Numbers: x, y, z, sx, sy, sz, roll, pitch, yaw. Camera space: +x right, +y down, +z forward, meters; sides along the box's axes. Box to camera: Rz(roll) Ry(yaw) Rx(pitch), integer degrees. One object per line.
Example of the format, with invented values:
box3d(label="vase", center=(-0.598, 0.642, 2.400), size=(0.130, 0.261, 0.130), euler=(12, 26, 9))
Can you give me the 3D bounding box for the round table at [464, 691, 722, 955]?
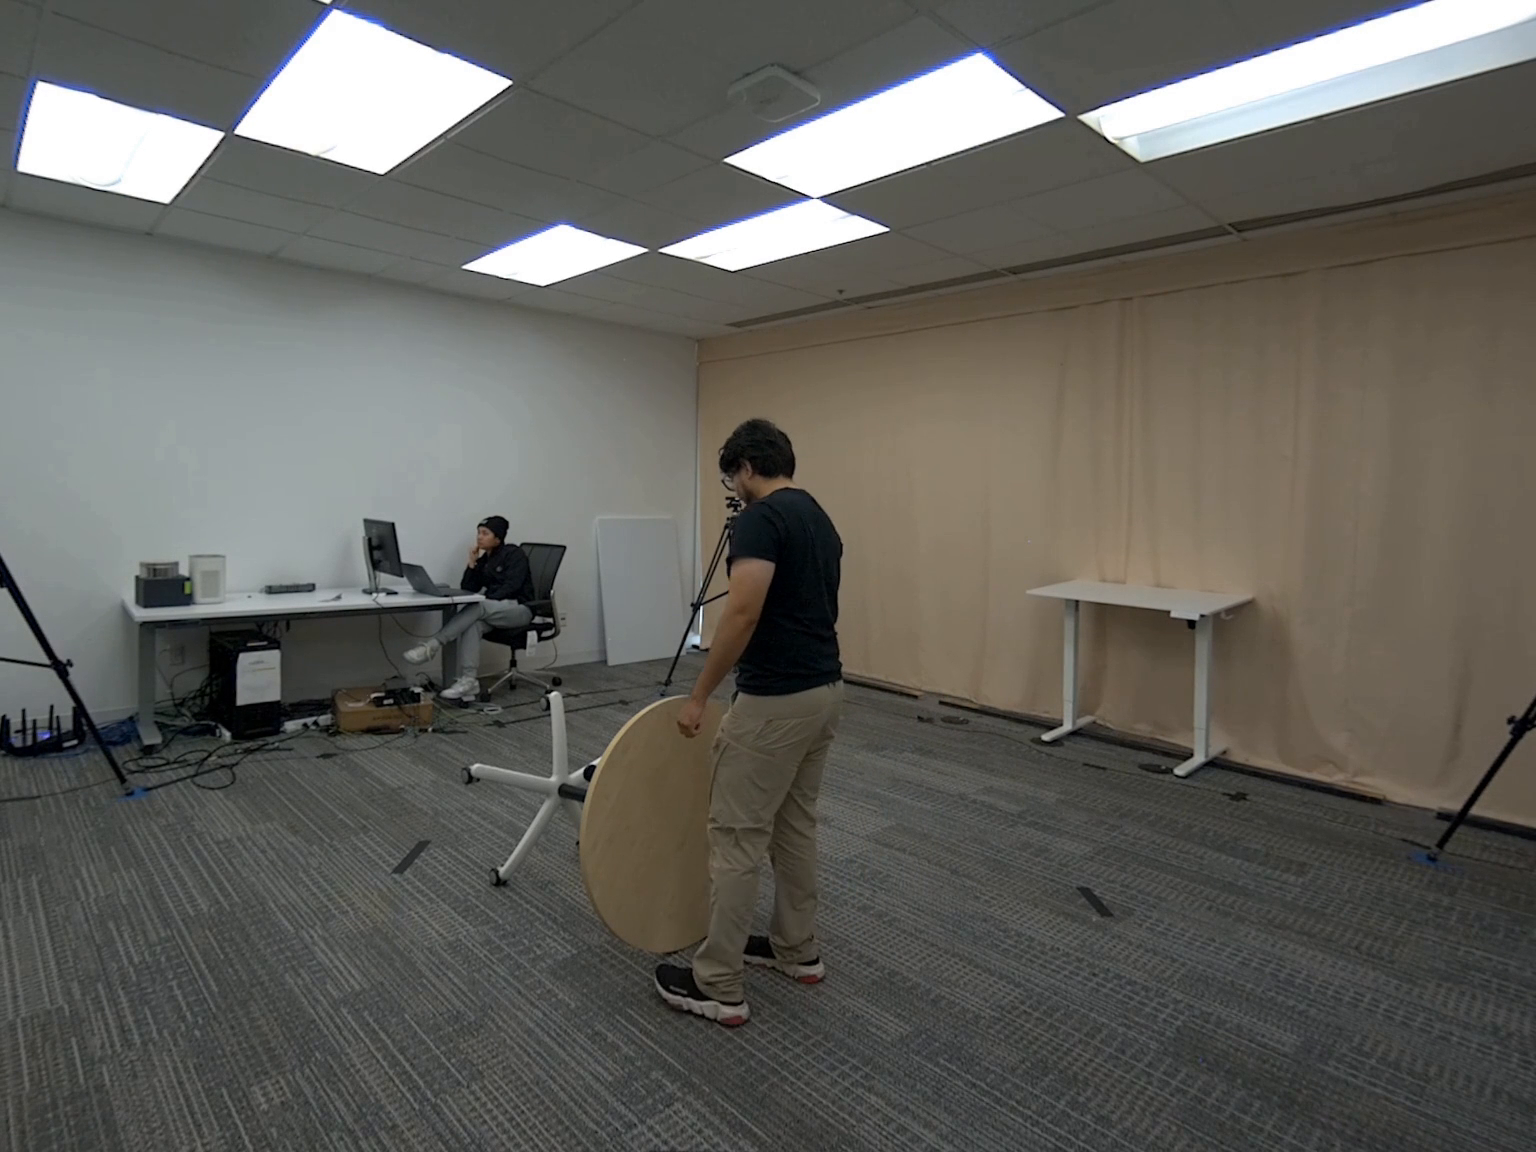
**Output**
box3d(label="round table", center=(-0.558, 0.783, 2.905), size=(0.803, 0.786, 0.767), euler=(-5, -1, 43))
